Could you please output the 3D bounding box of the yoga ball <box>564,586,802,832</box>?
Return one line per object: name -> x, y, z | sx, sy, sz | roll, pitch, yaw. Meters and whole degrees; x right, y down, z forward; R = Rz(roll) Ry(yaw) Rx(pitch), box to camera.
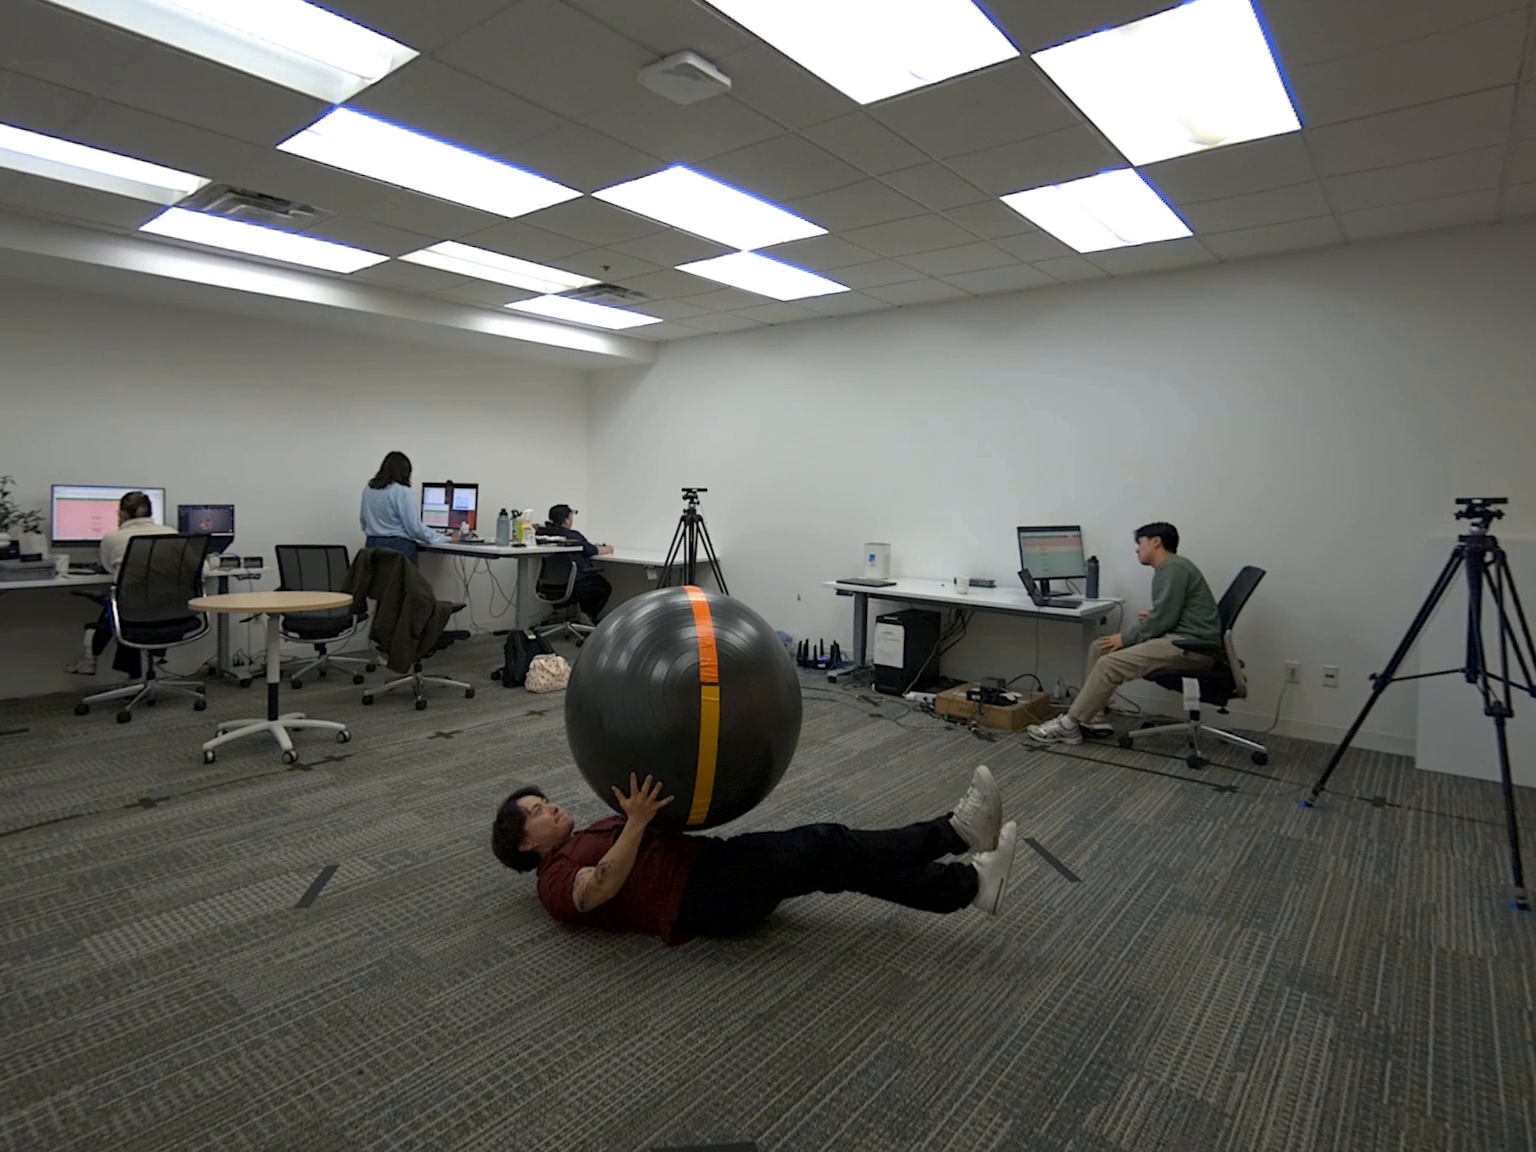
yoga ball -> -0.274, 0.414, 2.715 | 0.757, 0.755, 0.762 | 1, 4, -2
